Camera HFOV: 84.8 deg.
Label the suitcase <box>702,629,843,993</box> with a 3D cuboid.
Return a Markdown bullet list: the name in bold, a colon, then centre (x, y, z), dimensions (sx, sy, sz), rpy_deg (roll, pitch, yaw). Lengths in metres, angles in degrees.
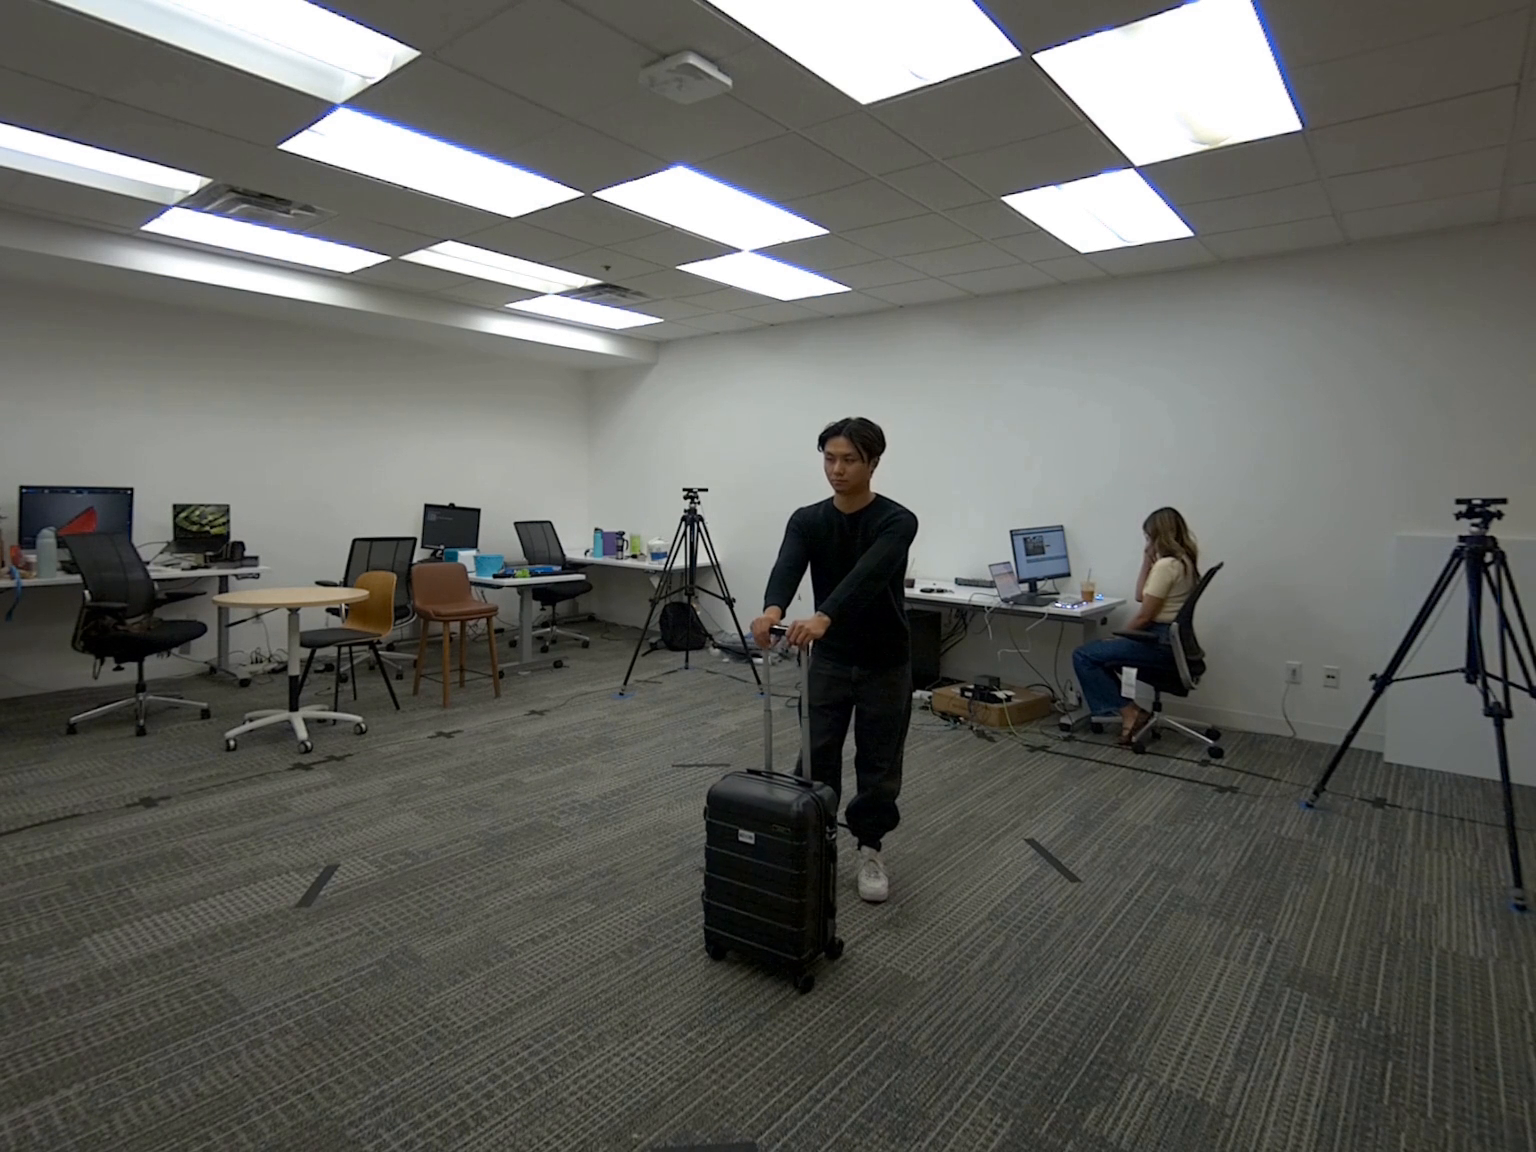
- **suitcase**: centre (0.000, 0.659, 2.485), dimensions (0.395, 0.973, 0.251), rpy_deg (3, 6, 31)
